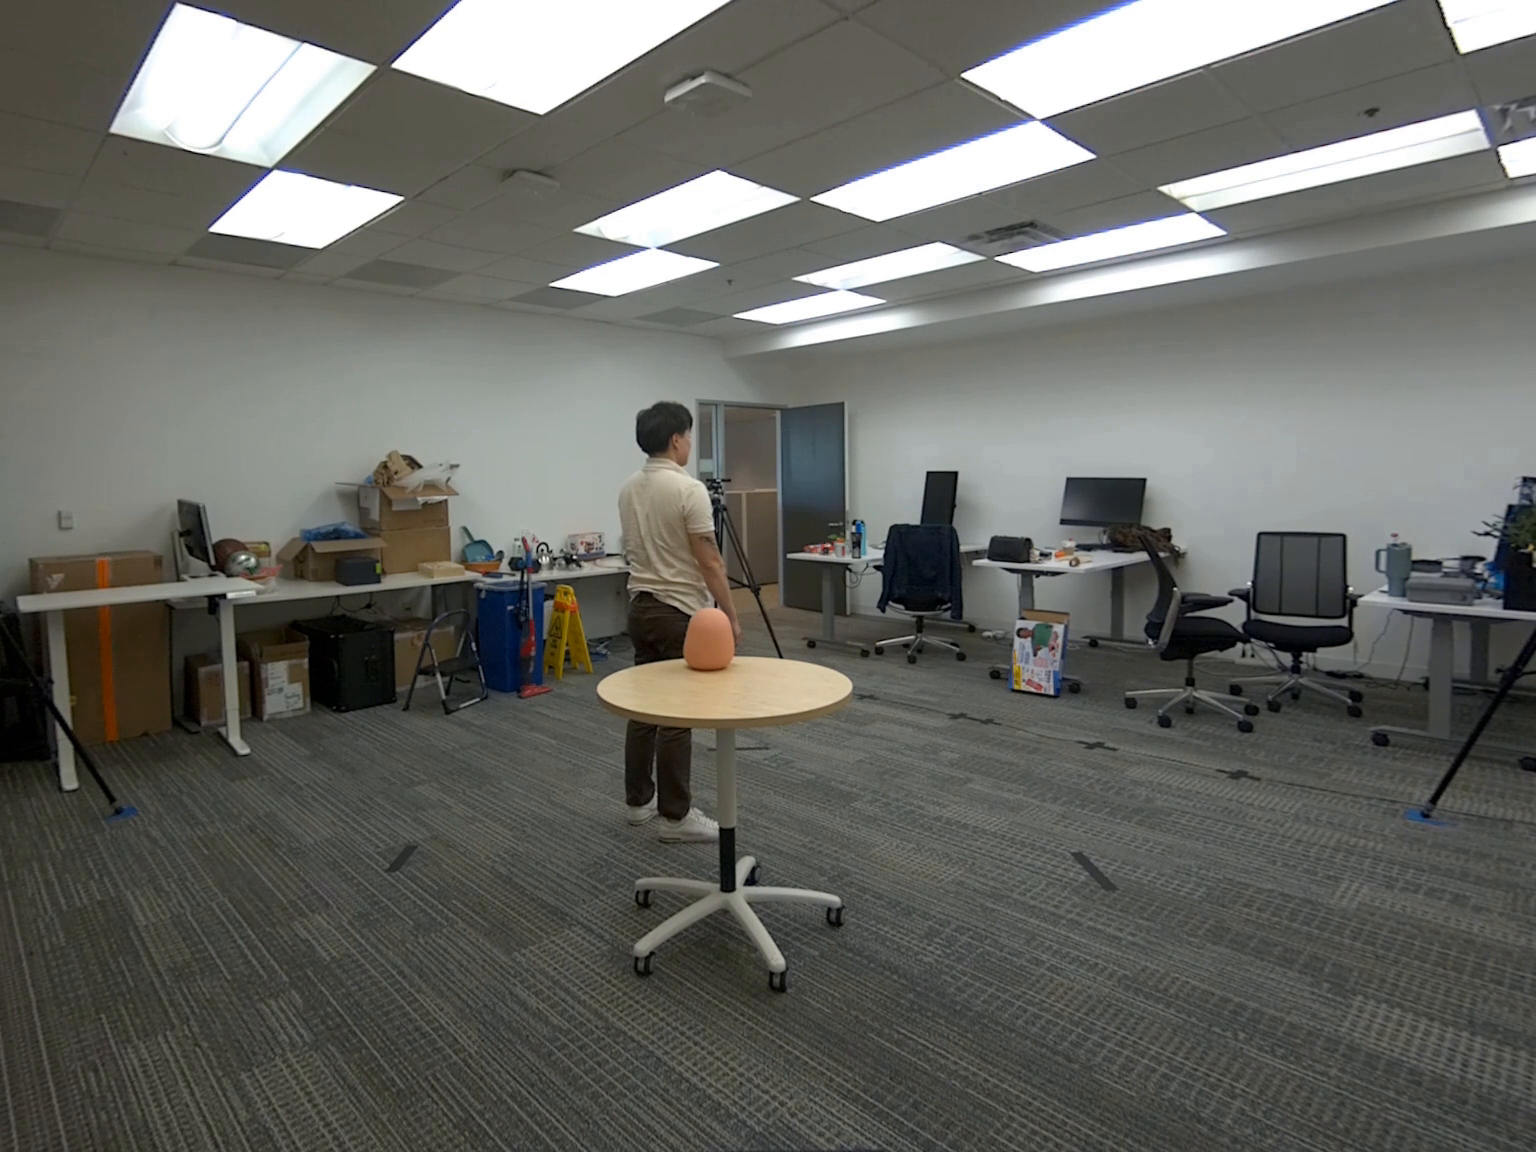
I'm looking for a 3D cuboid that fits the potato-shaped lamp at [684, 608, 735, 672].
[{"bbox_3d":[-0.194,0.204,2.780,0.163,0.197,0.174,-3,7,-13],"label":"potato-shaped lamp"}]
